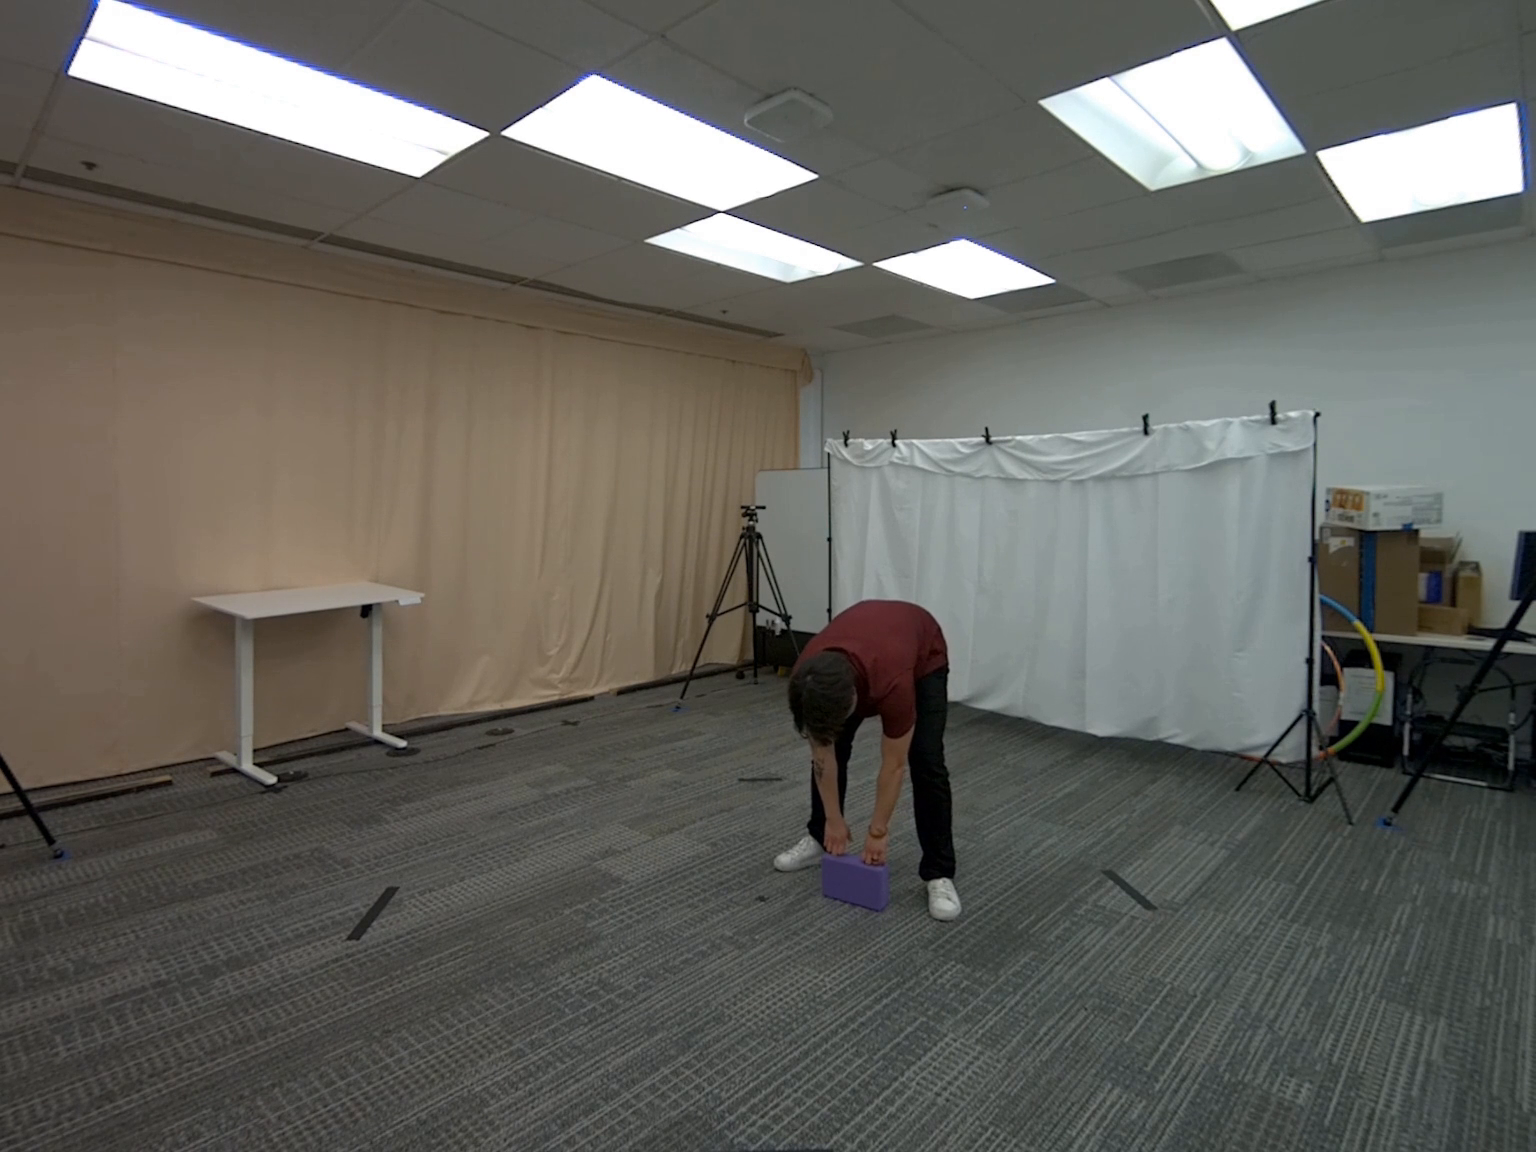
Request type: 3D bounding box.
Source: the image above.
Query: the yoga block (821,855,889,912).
[{"bbox_3d":[0.312,1.069,2.971,0.236,0.149,0.074,2,3,33],"label":"yoga block"}]
